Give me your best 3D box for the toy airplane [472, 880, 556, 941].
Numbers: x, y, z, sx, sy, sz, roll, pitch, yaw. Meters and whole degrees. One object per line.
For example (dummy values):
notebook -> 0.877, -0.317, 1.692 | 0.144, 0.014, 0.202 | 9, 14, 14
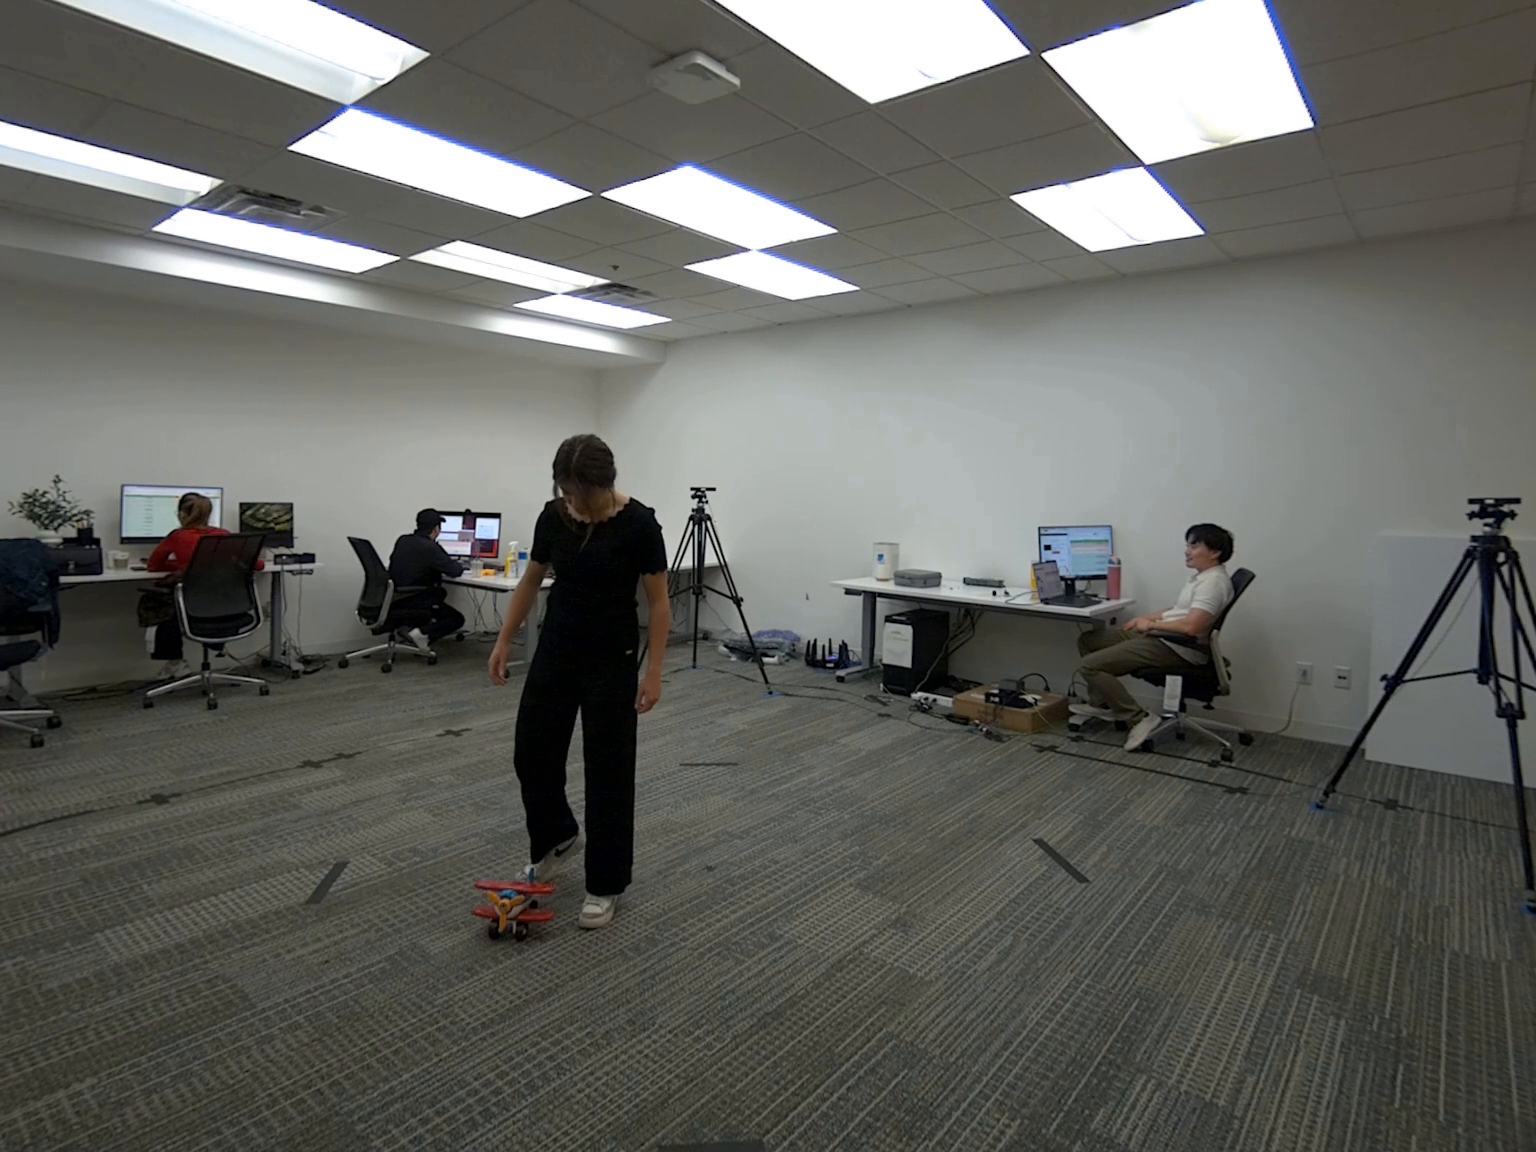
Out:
toy airplane -> -0.810, 1.022, 2.686 | 0.246, 0.156, 0.266 | -1, 6, -22
